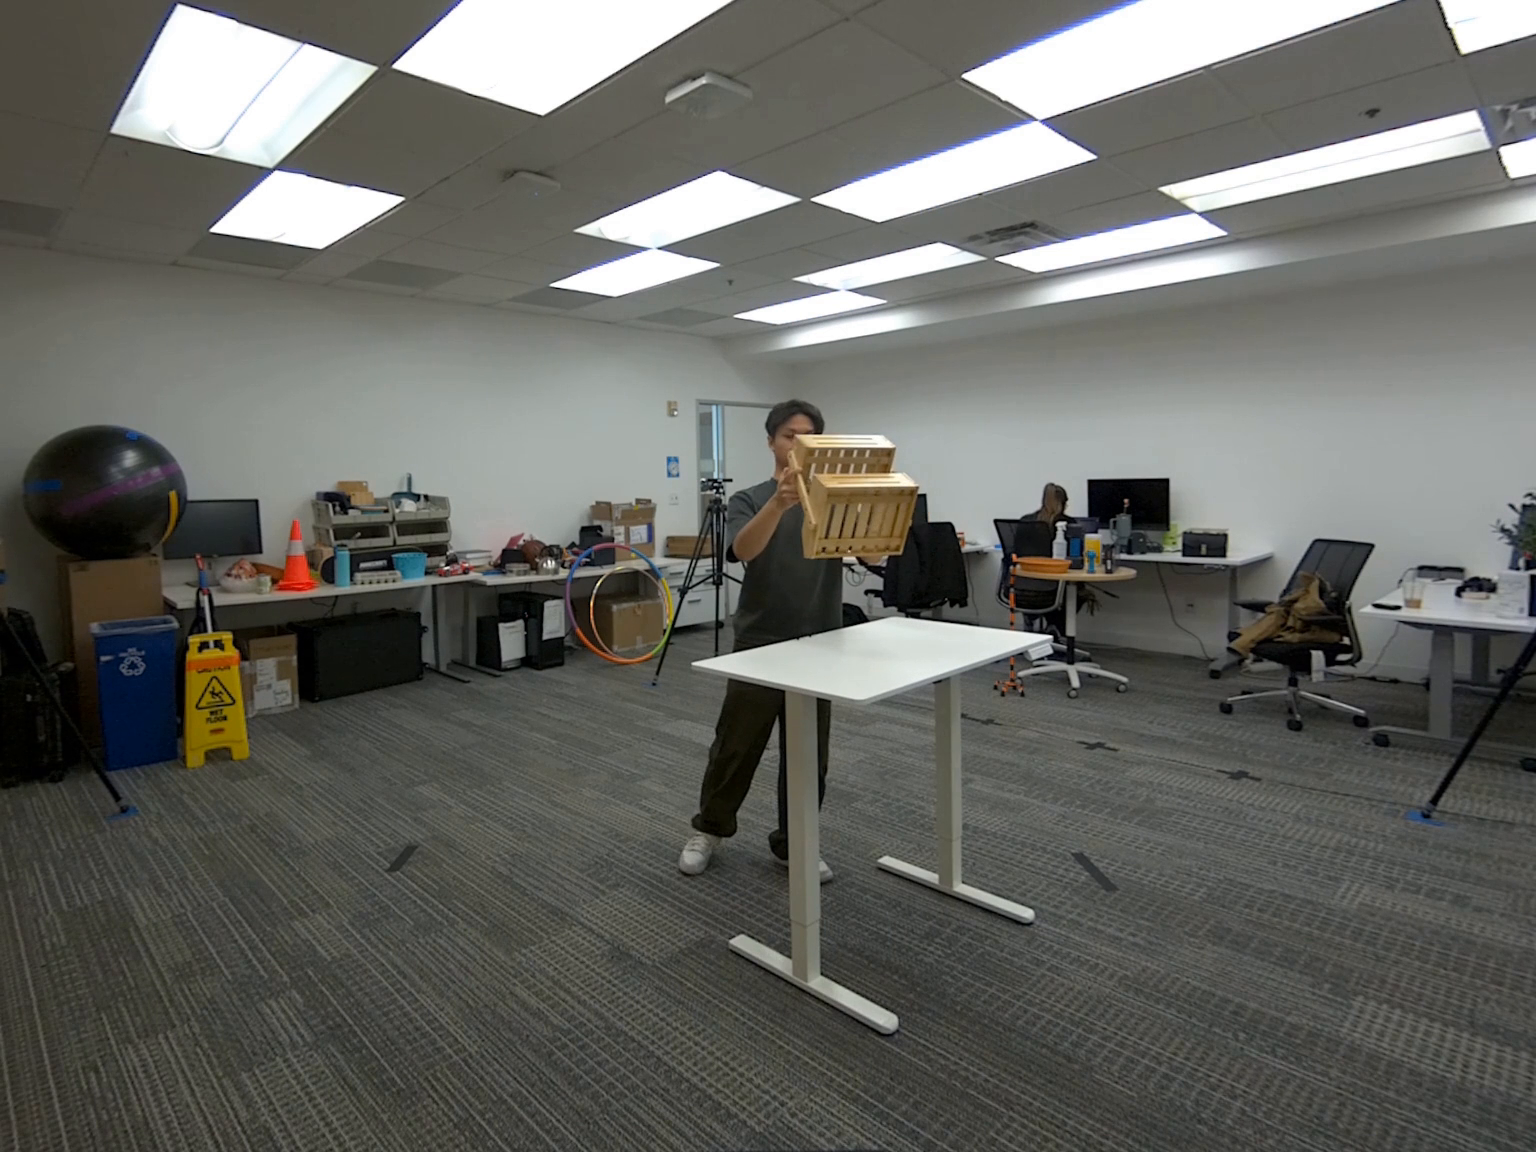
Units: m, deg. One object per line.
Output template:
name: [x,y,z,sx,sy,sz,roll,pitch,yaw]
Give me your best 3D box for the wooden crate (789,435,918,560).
wooden crate: [0.236,-0.237,2.585,0.318,0.296,0.283,-2,31,-21]
